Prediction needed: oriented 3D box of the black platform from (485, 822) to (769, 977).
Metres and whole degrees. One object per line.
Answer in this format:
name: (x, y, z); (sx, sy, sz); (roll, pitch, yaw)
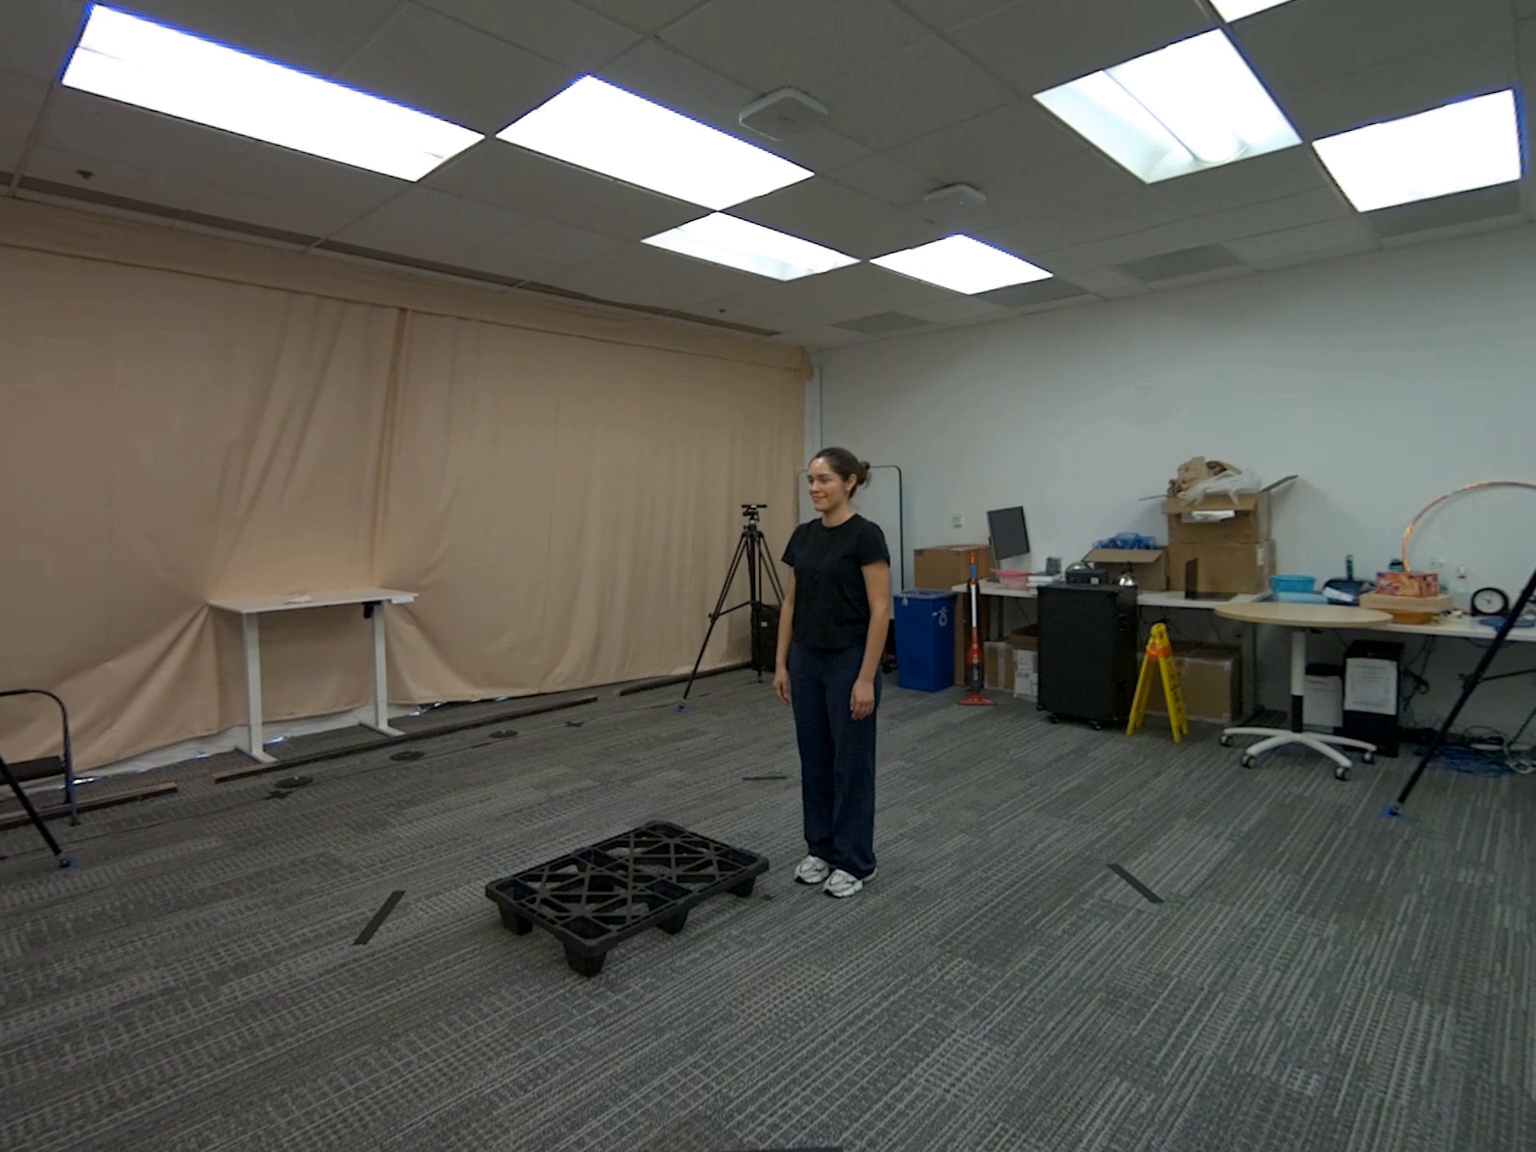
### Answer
black platform: (-0.451, 1.090, 2.913); (0.625, 0.143, 0.781); (4, 7, 42)
